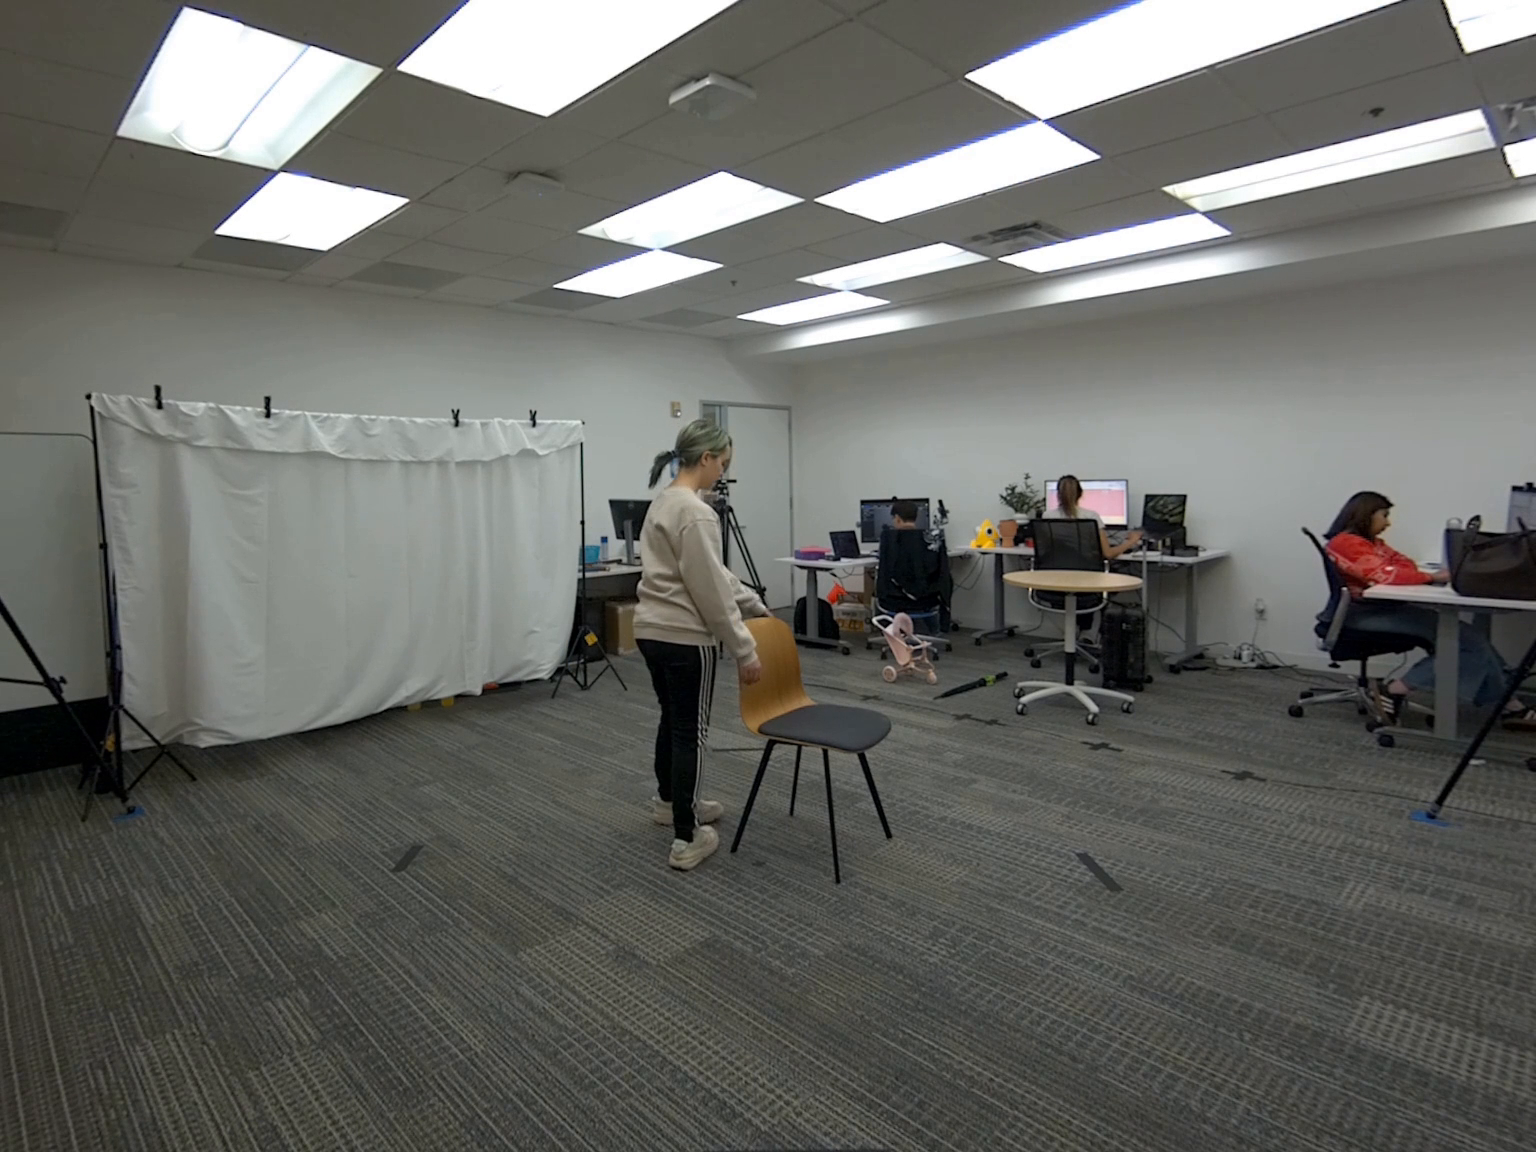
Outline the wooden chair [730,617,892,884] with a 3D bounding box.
[{"bbox_3d":[0.173,0.599,3.217,0.537,0.876,0.466,-3,2,34],"label":"wooden chair"}]
